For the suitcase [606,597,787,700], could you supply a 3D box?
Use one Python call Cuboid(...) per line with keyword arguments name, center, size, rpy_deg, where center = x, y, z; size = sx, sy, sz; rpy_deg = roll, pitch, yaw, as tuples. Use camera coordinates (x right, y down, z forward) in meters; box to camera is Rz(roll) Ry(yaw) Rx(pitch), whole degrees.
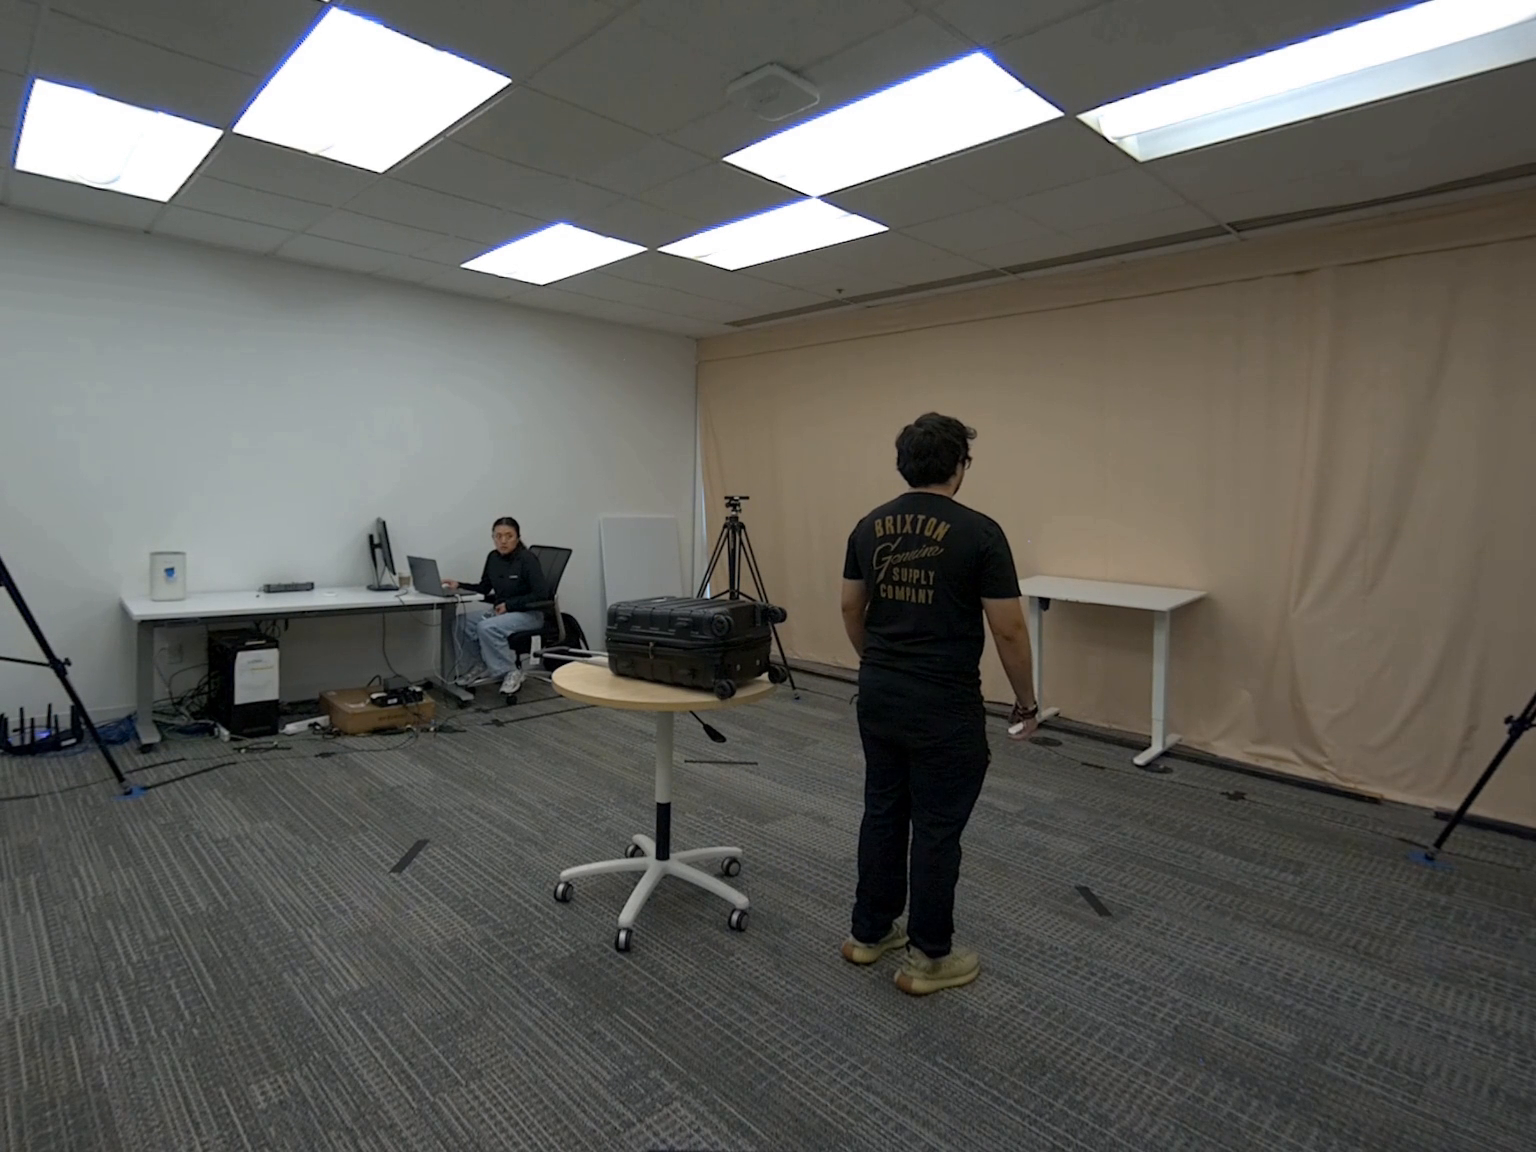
Cuboid(name="suitcase", center=(-0.430, 0.201, 2.941), size=(1.002, 0.256, 0.376), rpy_deg=(5, 7, 36))
